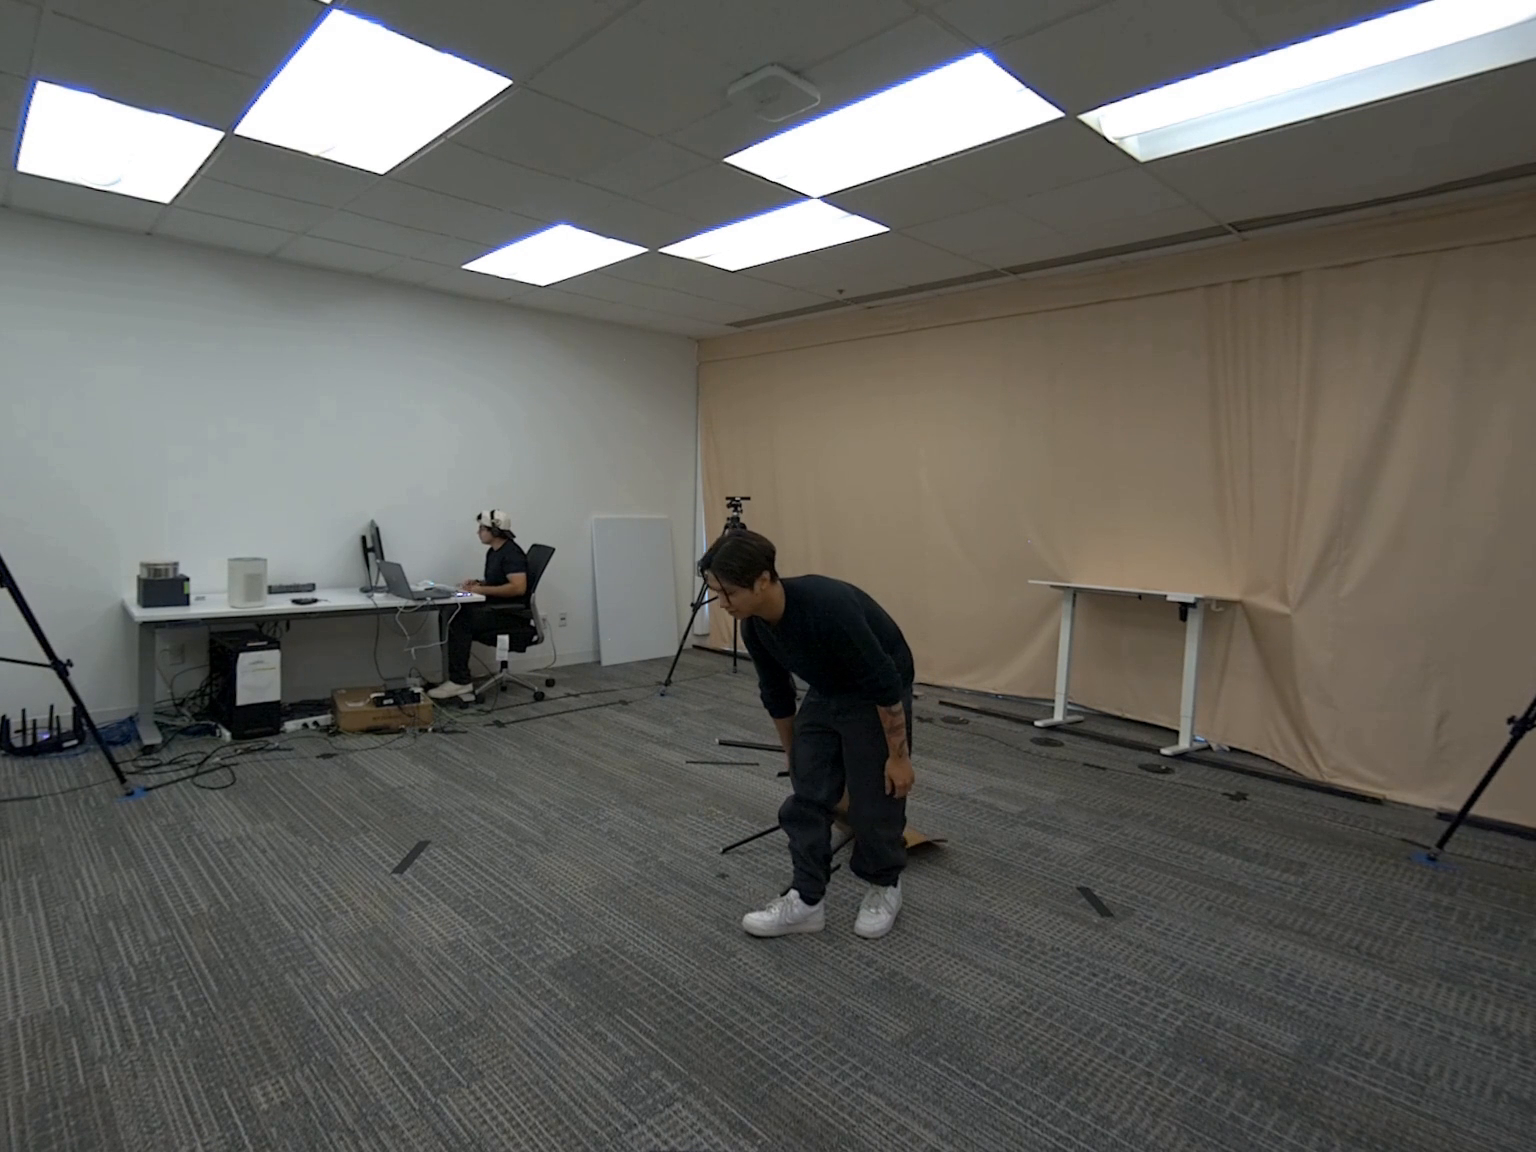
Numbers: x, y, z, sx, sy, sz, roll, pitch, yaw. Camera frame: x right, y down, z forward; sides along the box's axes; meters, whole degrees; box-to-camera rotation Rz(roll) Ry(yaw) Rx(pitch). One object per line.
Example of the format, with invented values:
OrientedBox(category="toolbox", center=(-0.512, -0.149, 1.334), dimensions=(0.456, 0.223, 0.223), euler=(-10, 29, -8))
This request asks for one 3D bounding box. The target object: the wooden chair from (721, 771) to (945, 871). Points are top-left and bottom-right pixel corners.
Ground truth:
OrientedBox(category="wooden chair", center=(0.285, 0.844, 3.297), dimensions=(0.860, 0.522, 0.489), euler=(0, 4, -29))
